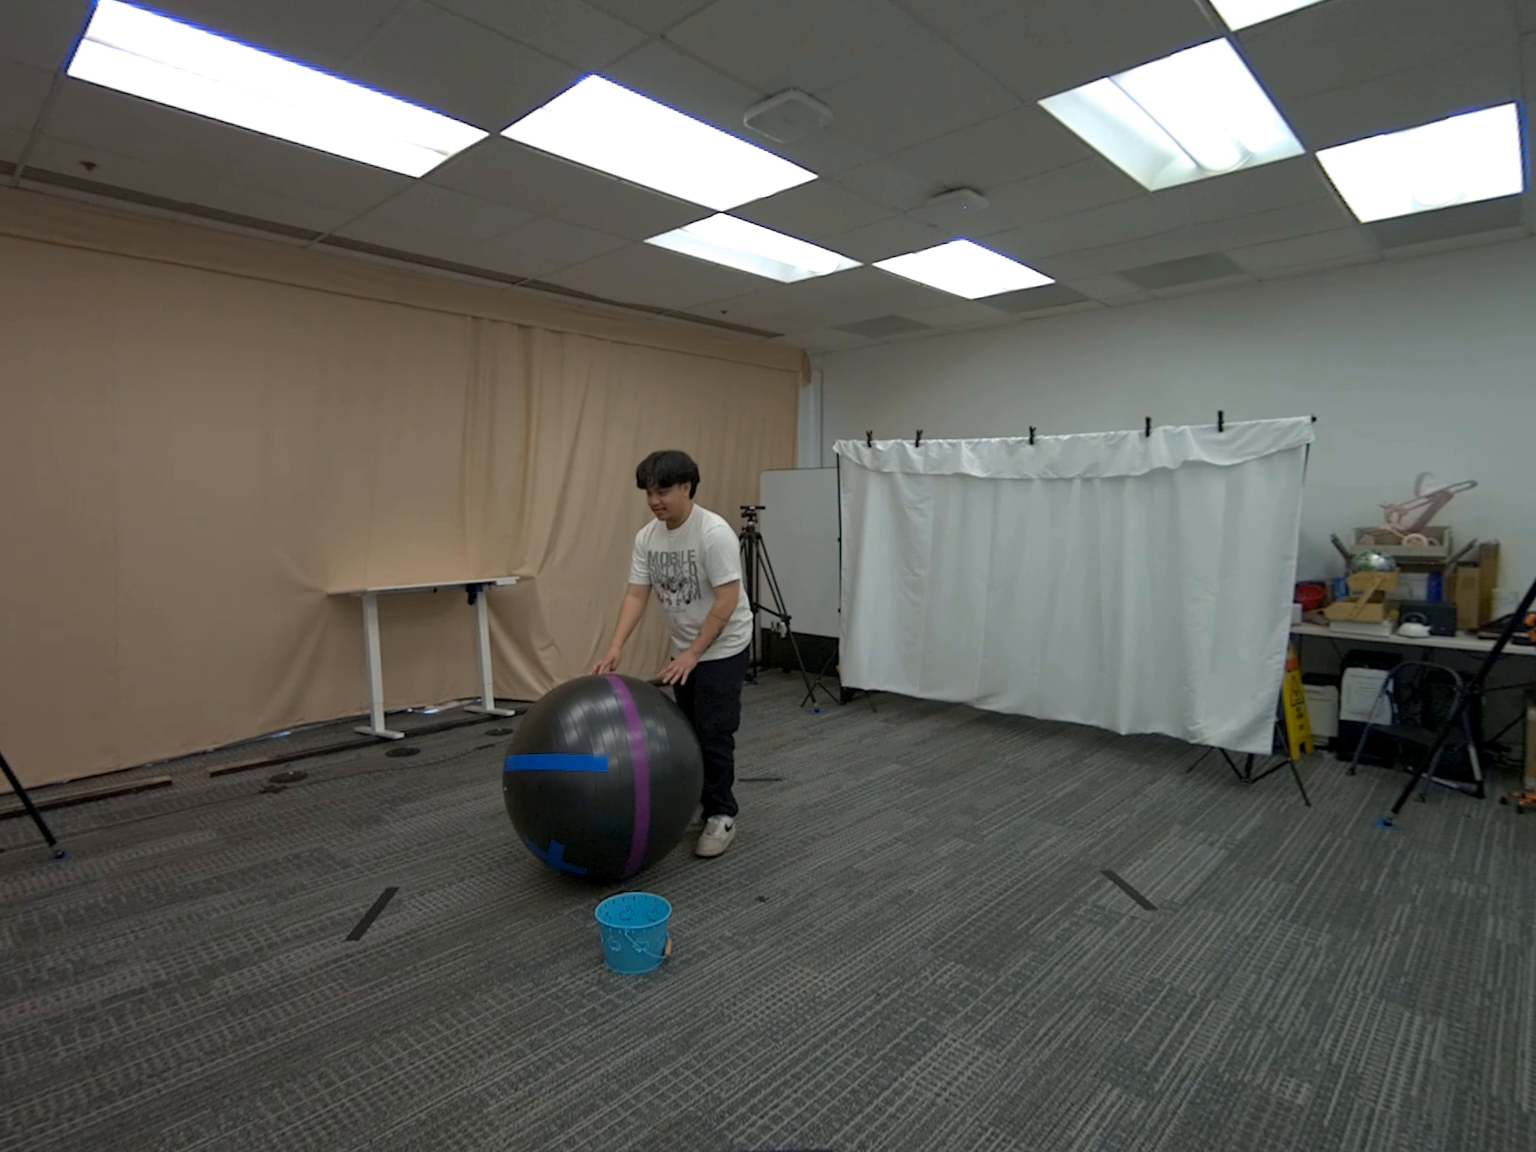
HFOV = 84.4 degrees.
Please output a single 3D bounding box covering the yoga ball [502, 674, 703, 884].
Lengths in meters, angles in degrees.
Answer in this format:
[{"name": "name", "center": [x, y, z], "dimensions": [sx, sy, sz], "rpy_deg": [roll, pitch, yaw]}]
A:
[{"name": "yoga ball", "center": [-0.632, 0.763, 3.221], "dimensions": [0.757, 0.756, 0.760], "rpy_deg": [0, 4, -2]}]
